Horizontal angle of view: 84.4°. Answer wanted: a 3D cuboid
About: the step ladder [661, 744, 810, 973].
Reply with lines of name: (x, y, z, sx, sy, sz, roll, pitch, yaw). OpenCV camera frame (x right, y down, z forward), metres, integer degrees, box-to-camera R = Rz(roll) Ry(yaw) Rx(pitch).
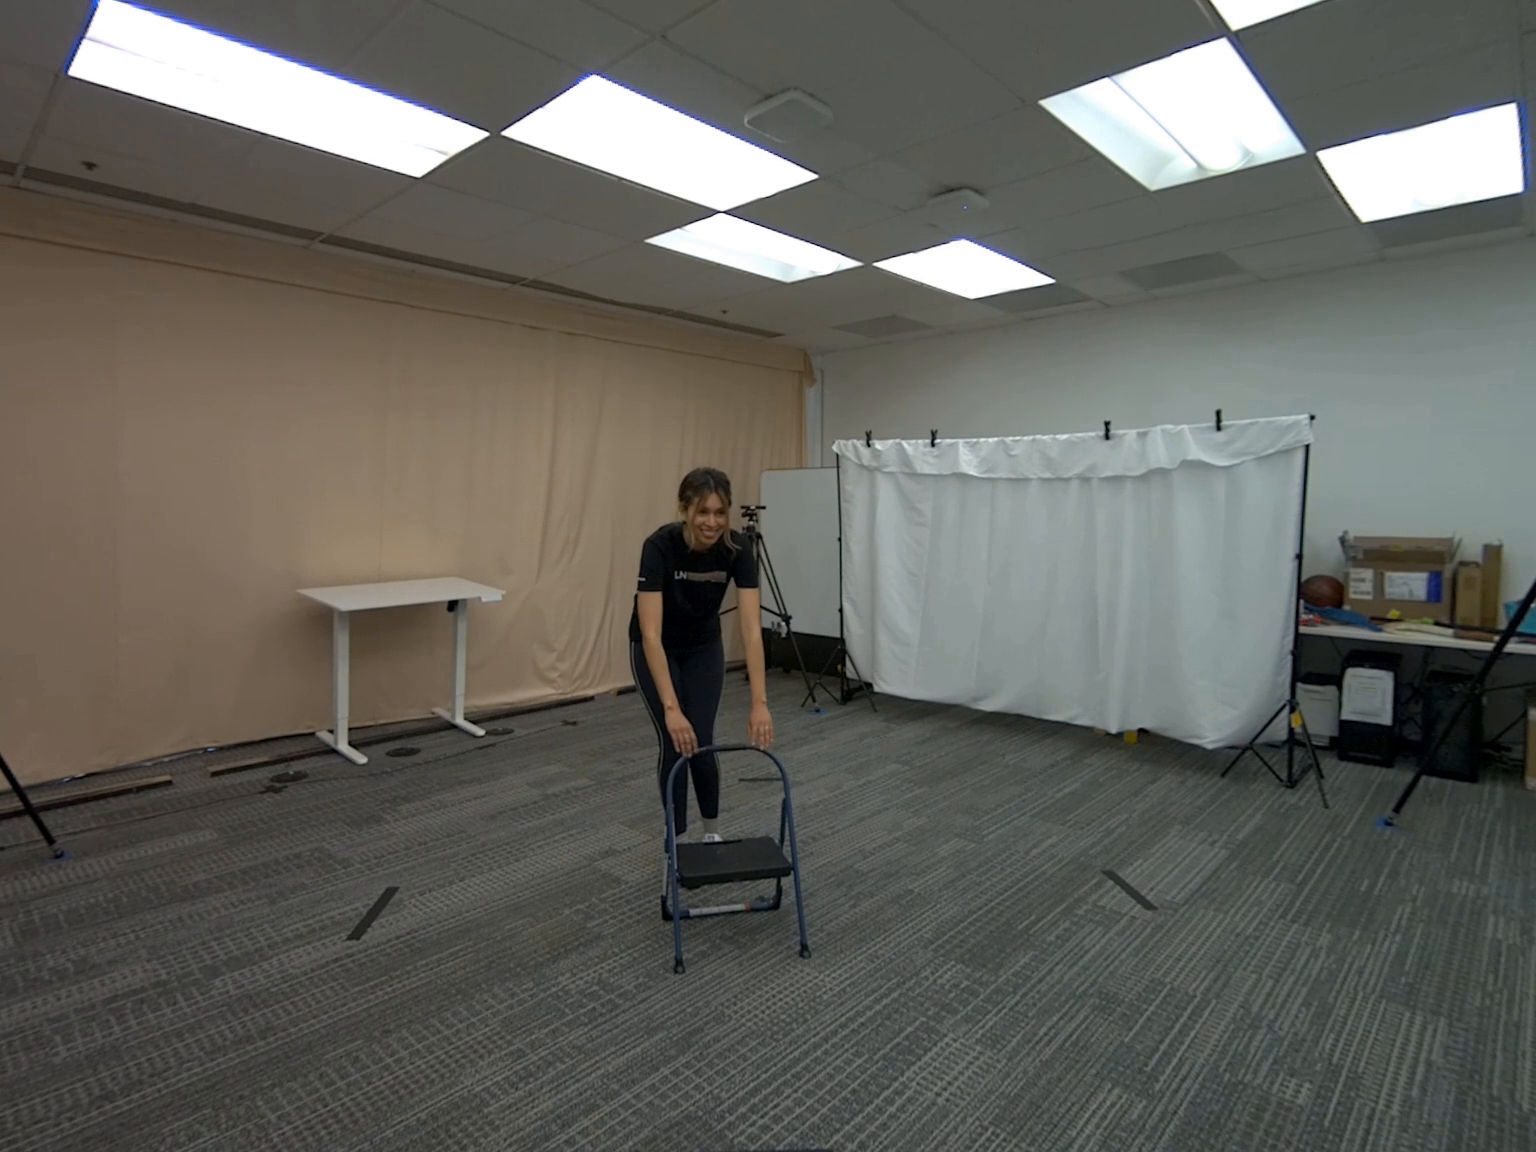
step ladder: (-0.111, 0.875, 2.706, 0.425, 0.604, 0.355, -1, 4, -13)
